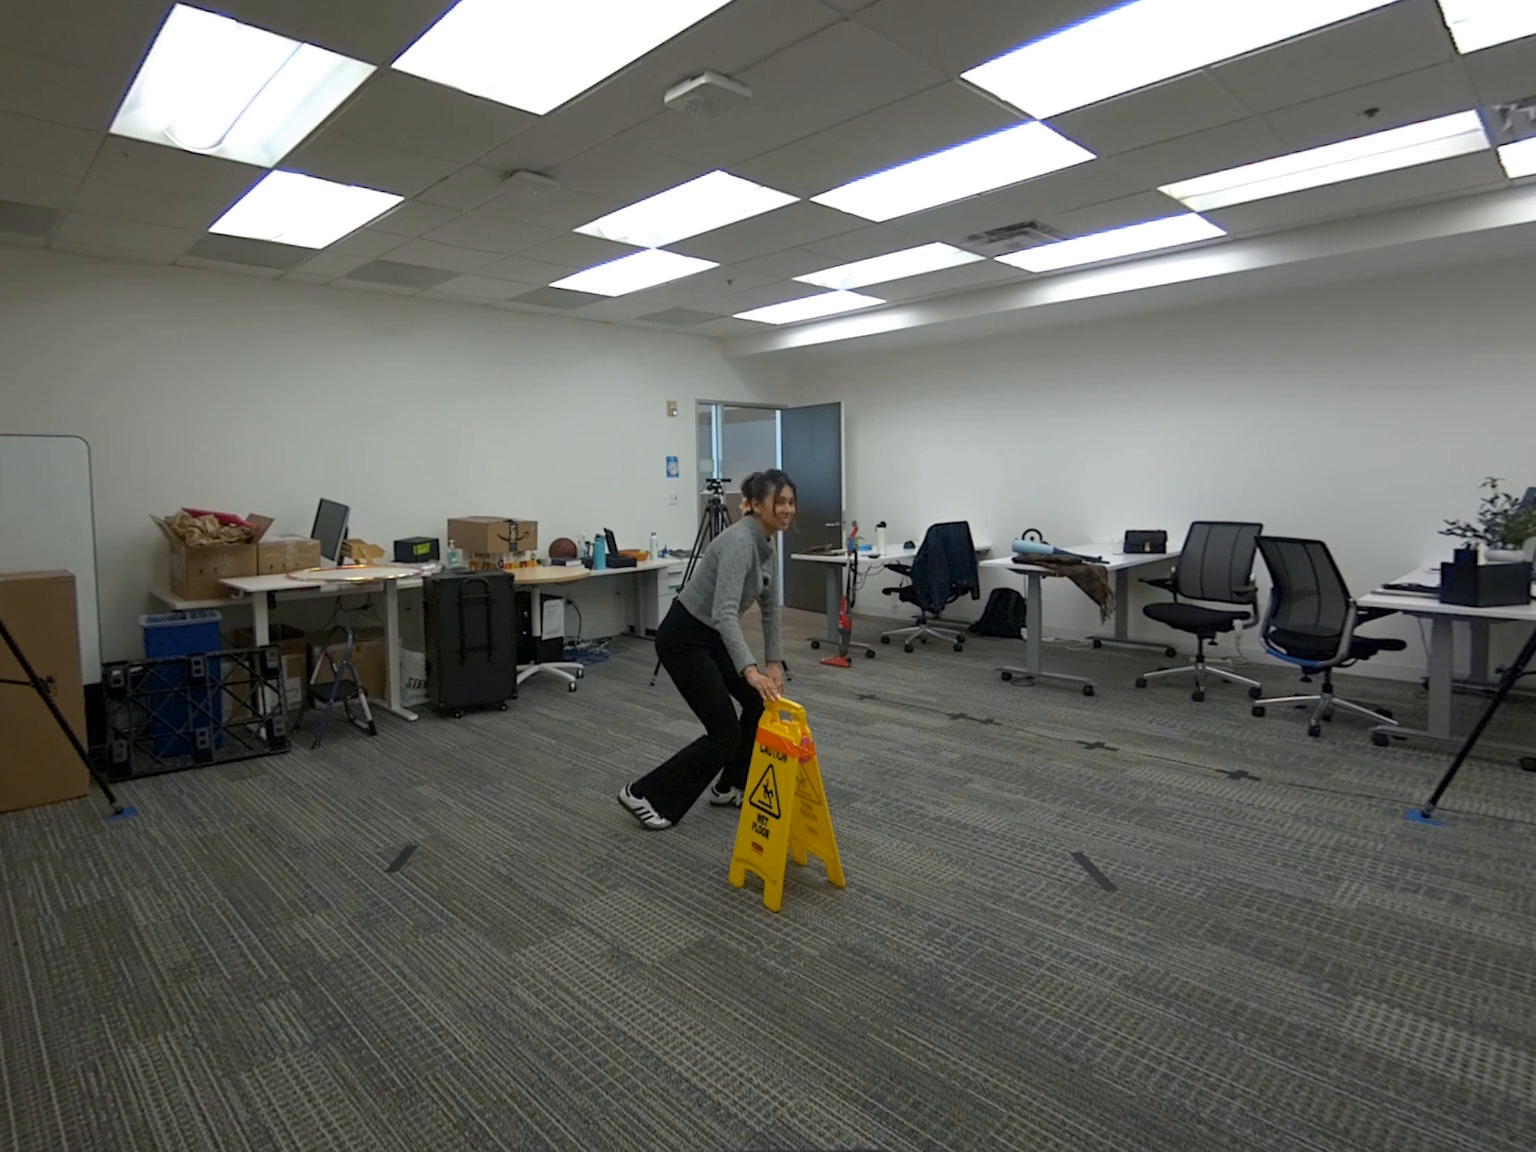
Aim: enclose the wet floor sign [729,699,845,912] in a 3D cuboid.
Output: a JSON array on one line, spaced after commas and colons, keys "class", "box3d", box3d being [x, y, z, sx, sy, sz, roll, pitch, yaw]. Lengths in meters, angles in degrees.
[{"class": "wet floor sign", "box3d": [0.059, 0.744, 2.920, 0.282, 0.644, 0.290, -5, 5, -35]}]
